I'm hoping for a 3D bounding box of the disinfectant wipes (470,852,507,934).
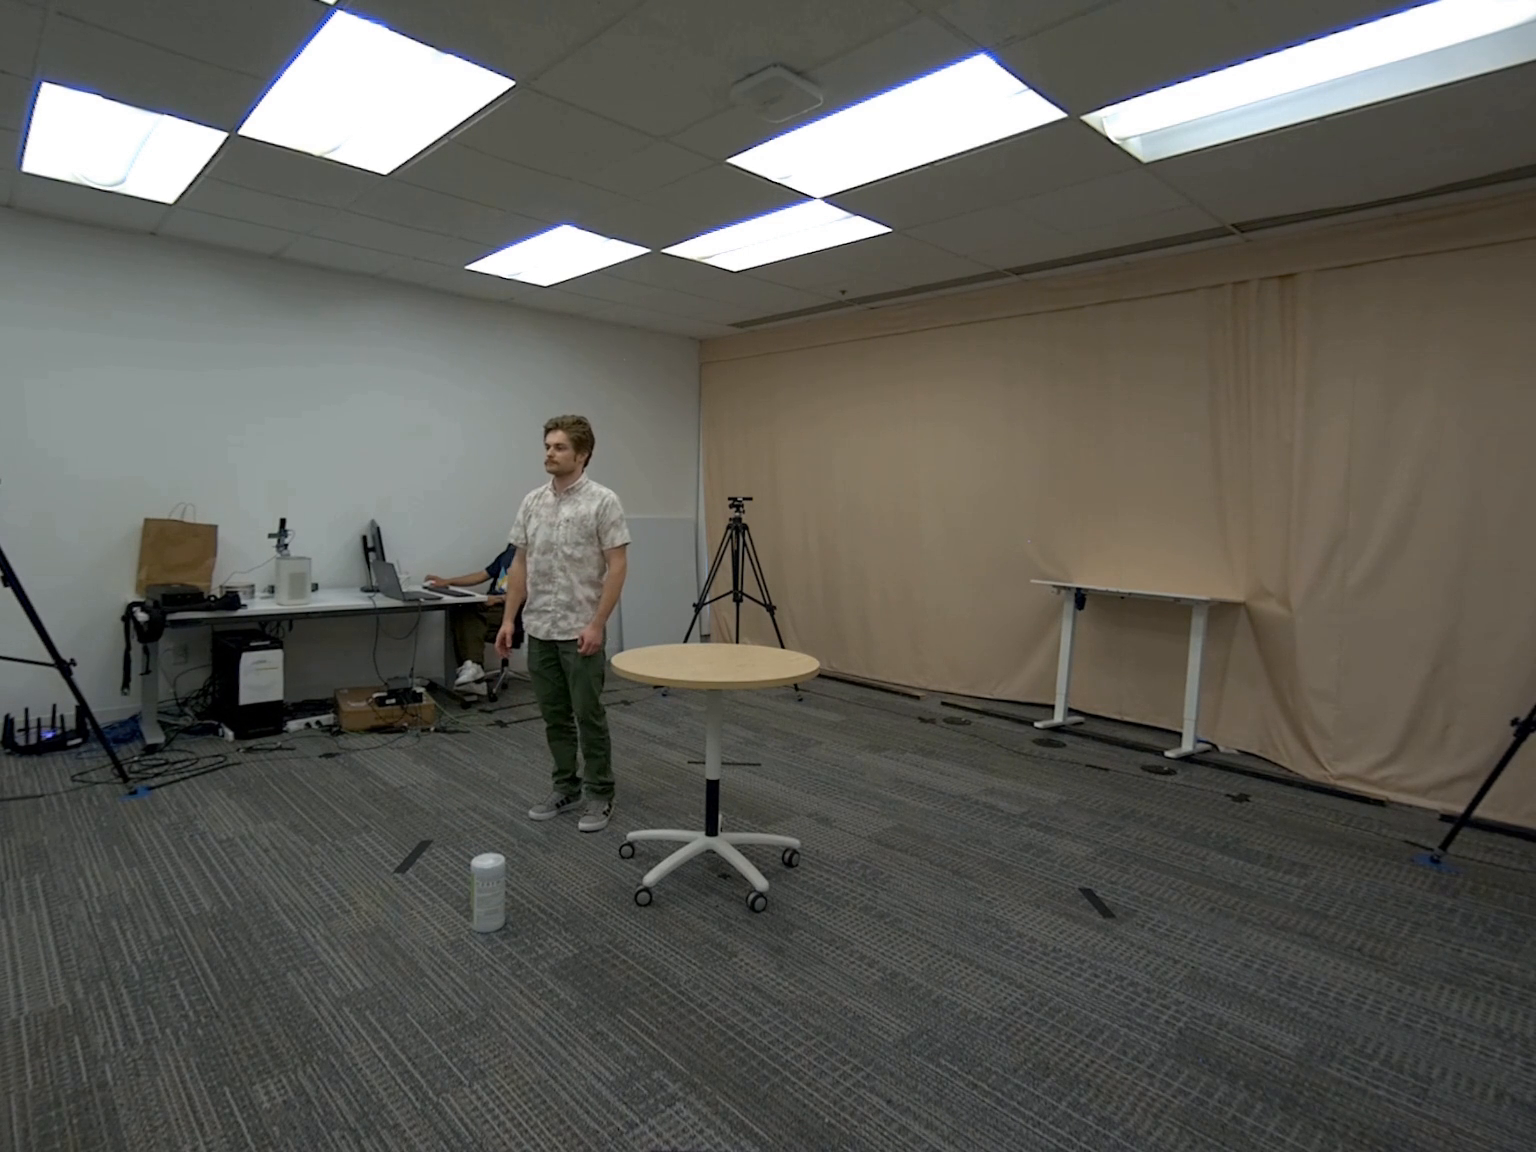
[{"bbox_3d":[-0.913,1.022,2.700,0.118,0.217,0.118,1,4,-1],"label":"disinfectant wipes"}]
